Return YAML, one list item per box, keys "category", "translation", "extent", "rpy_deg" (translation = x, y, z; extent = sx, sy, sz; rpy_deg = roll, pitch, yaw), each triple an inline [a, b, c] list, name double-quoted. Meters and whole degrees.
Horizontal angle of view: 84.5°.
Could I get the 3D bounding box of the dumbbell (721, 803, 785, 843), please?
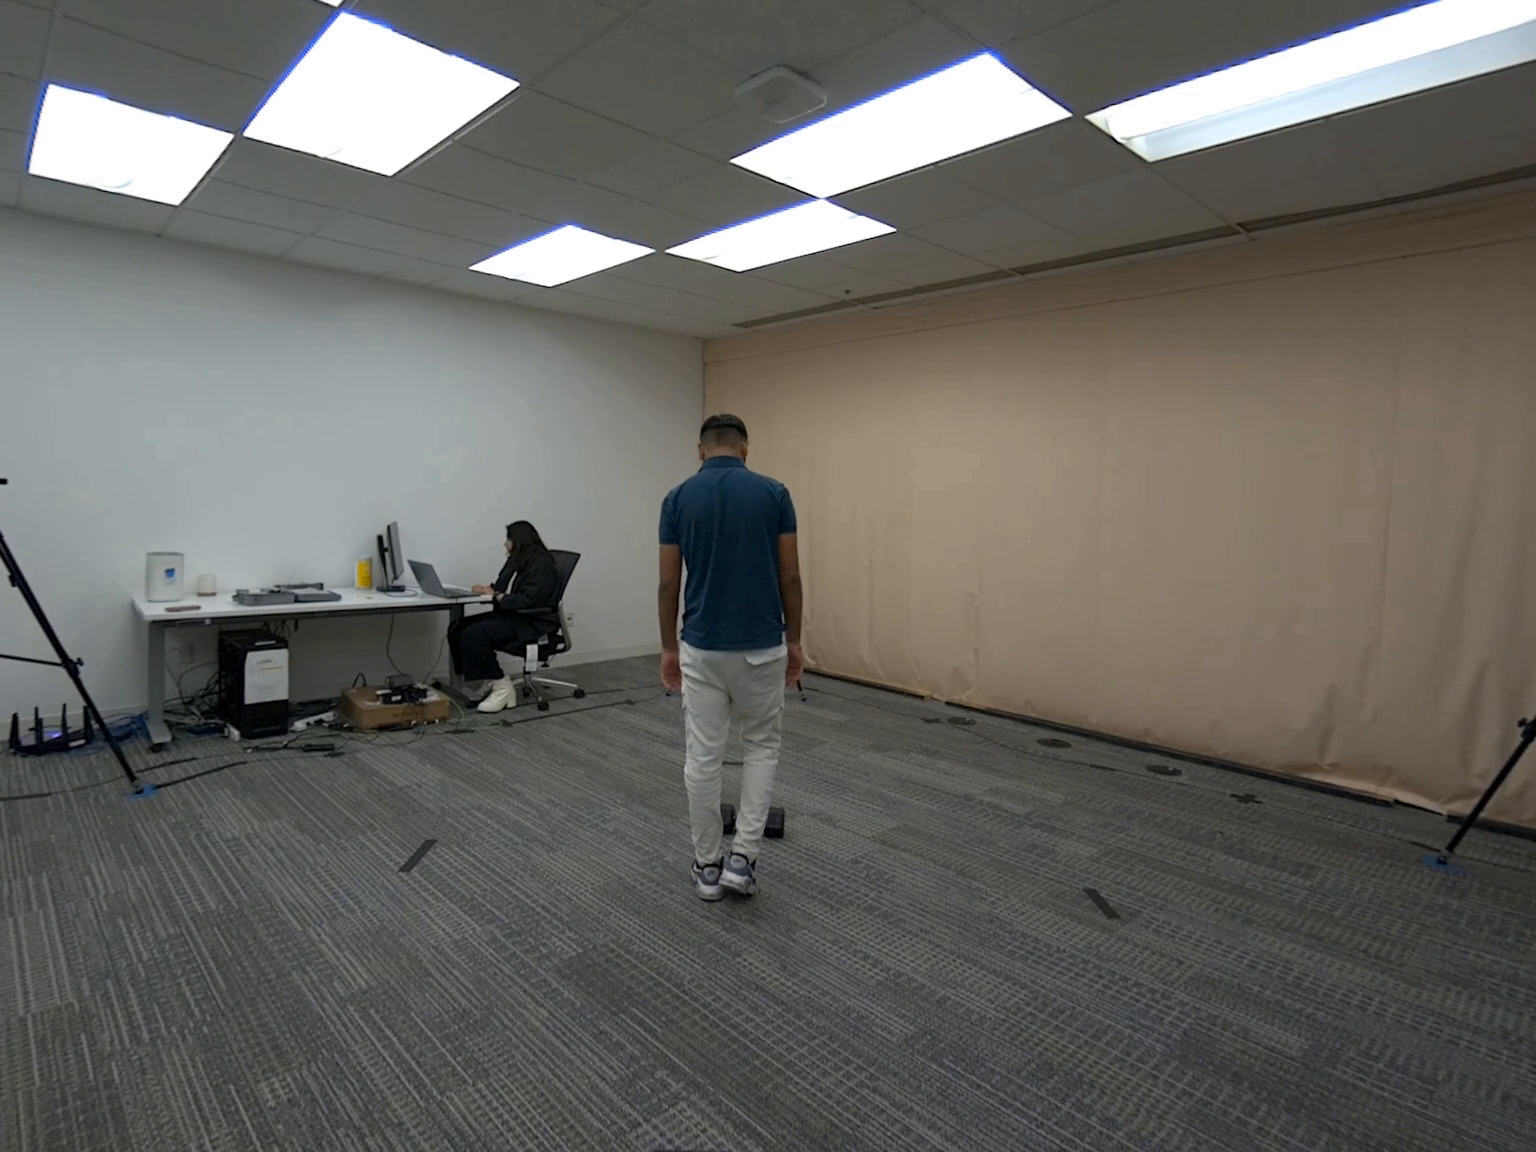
- category: "dumbbell"
  translation: [-0.084, 1.021, 3.505]
  extent: [0.295, 0.125, 0.106]
  rpy_deg: [2, -27, 6]
